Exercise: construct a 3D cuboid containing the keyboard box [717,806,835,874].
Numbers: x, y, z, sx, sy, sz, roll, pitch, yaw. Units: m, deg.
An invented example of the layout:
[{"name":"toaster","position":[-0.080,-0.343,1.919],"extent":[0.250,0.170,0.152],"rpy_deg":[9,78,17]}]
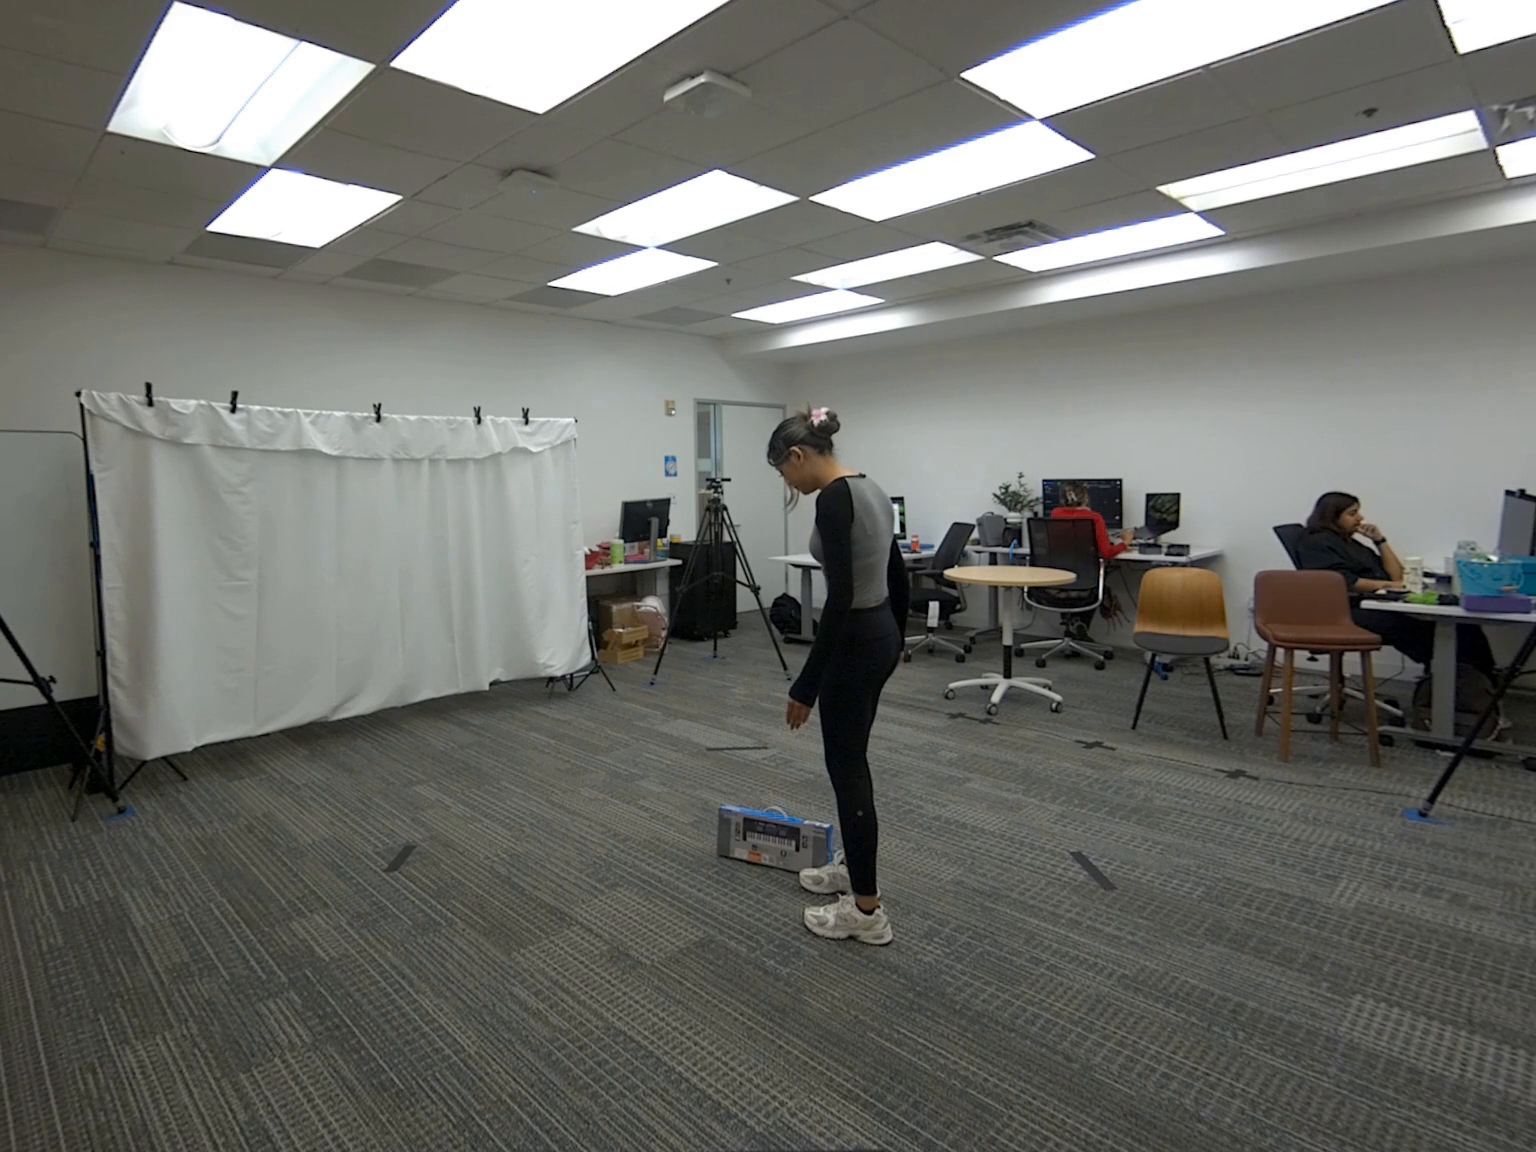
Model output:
[{"name":"keyboard box","position":[0.025,0.954,3.087],"extent":[0.448,0.176,0.057],"rpy_deg":[2,-3,28]}]
